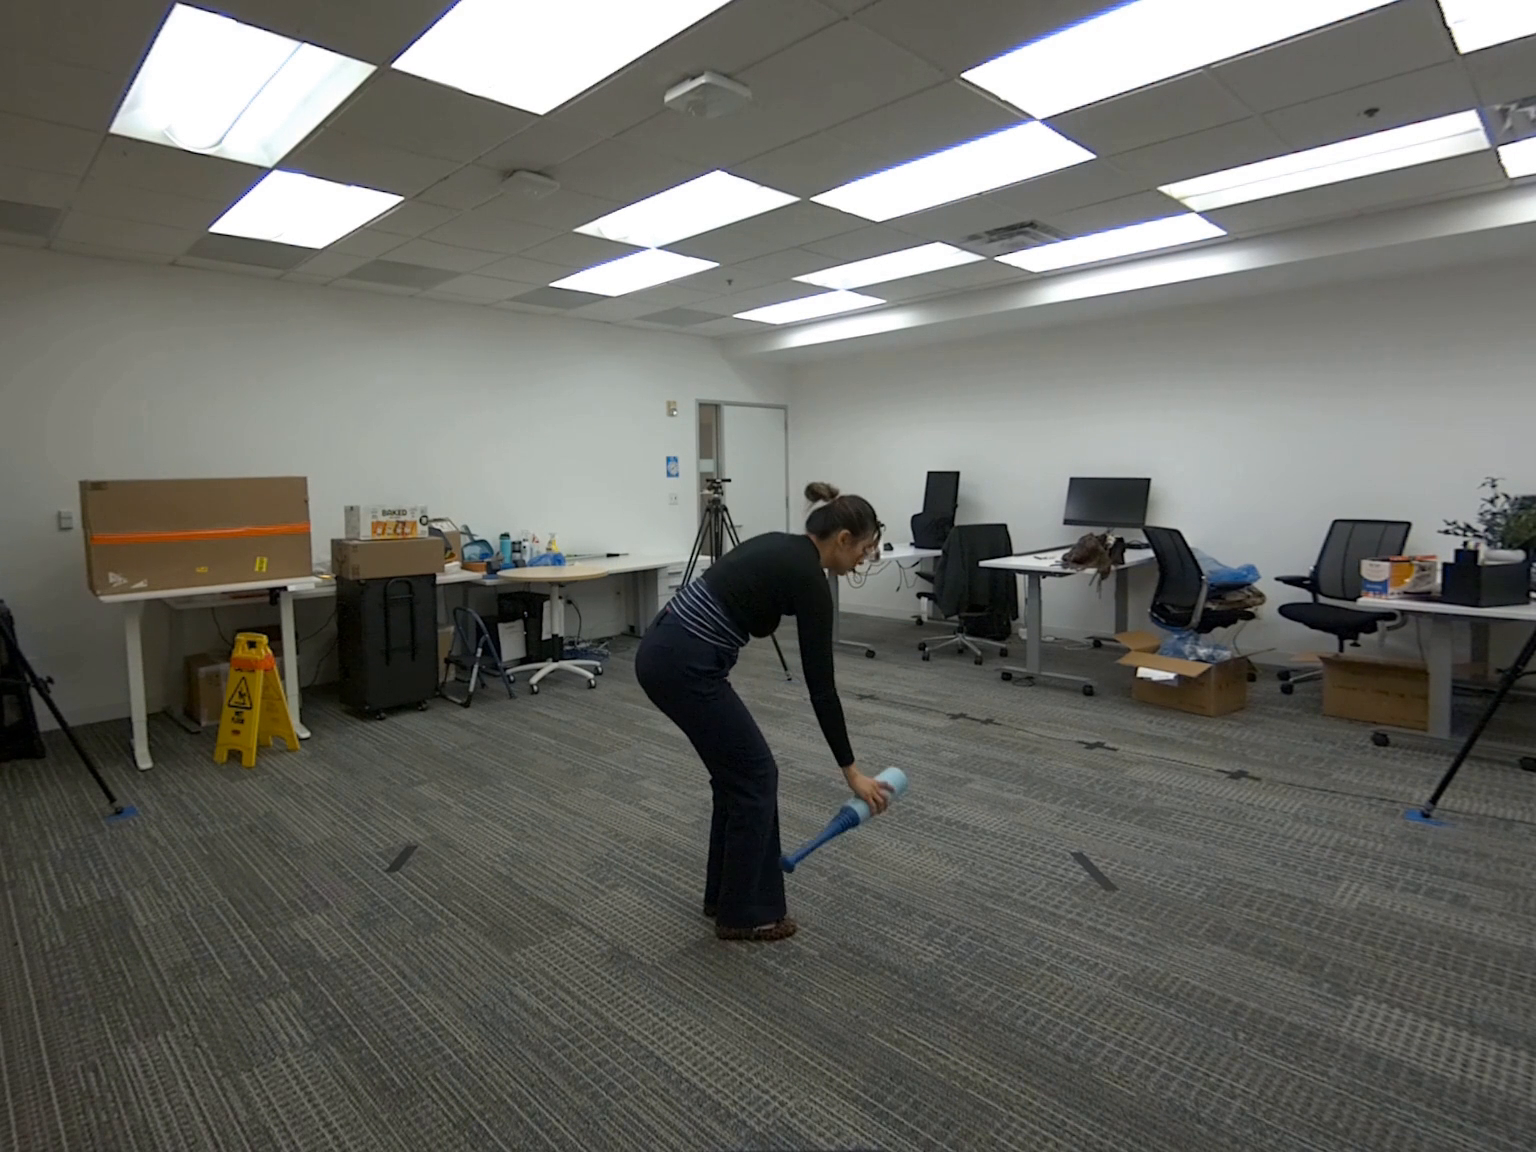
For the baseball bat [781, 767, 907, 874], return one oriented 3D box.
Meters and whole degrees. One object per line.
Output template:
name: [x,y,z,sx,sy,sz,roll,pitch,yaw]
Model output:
baseball bat: [0.222,0.710,2.498,0.092,0.088,0.534,4,21,44]
